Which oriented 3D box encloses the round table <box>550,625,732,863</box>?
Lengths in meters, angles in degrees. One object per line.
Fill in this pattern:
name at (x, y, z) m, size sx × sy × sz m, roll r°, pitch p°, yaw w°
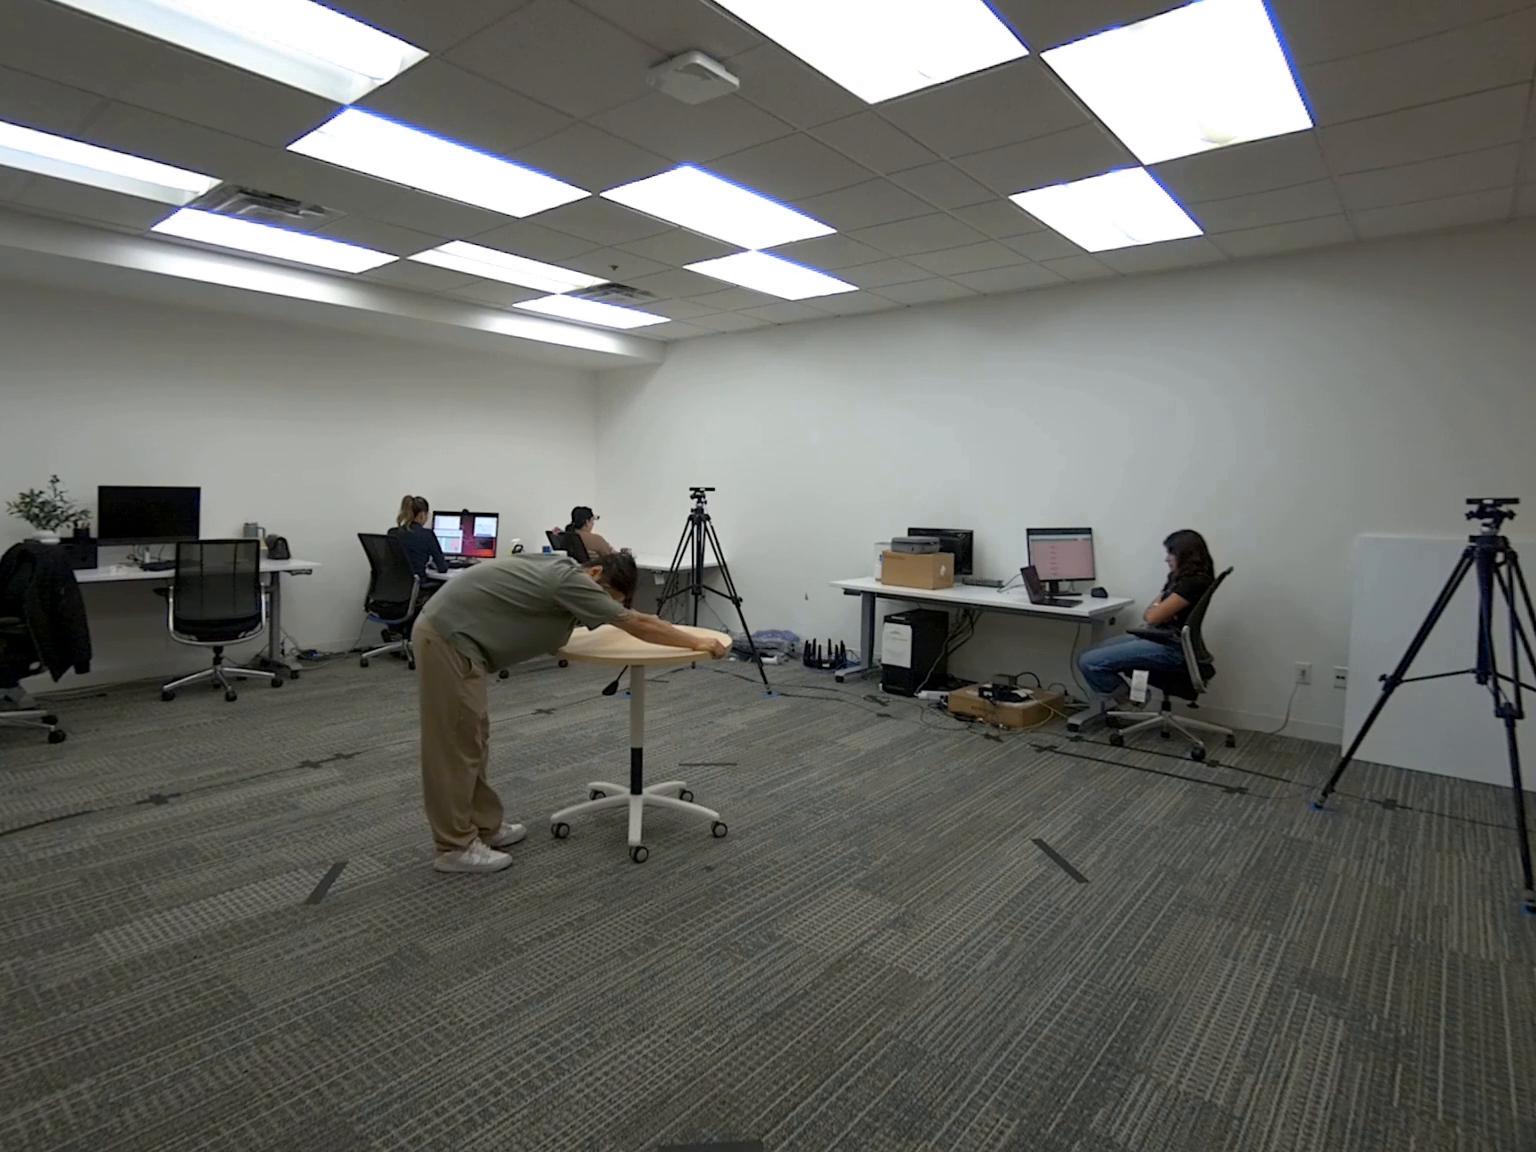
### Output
round table at (-0.544, 0.640, 3.483) m, size 0.784 × 0.784 × 0.789 m, roll 1°, pitch 5°, yaw -2°
